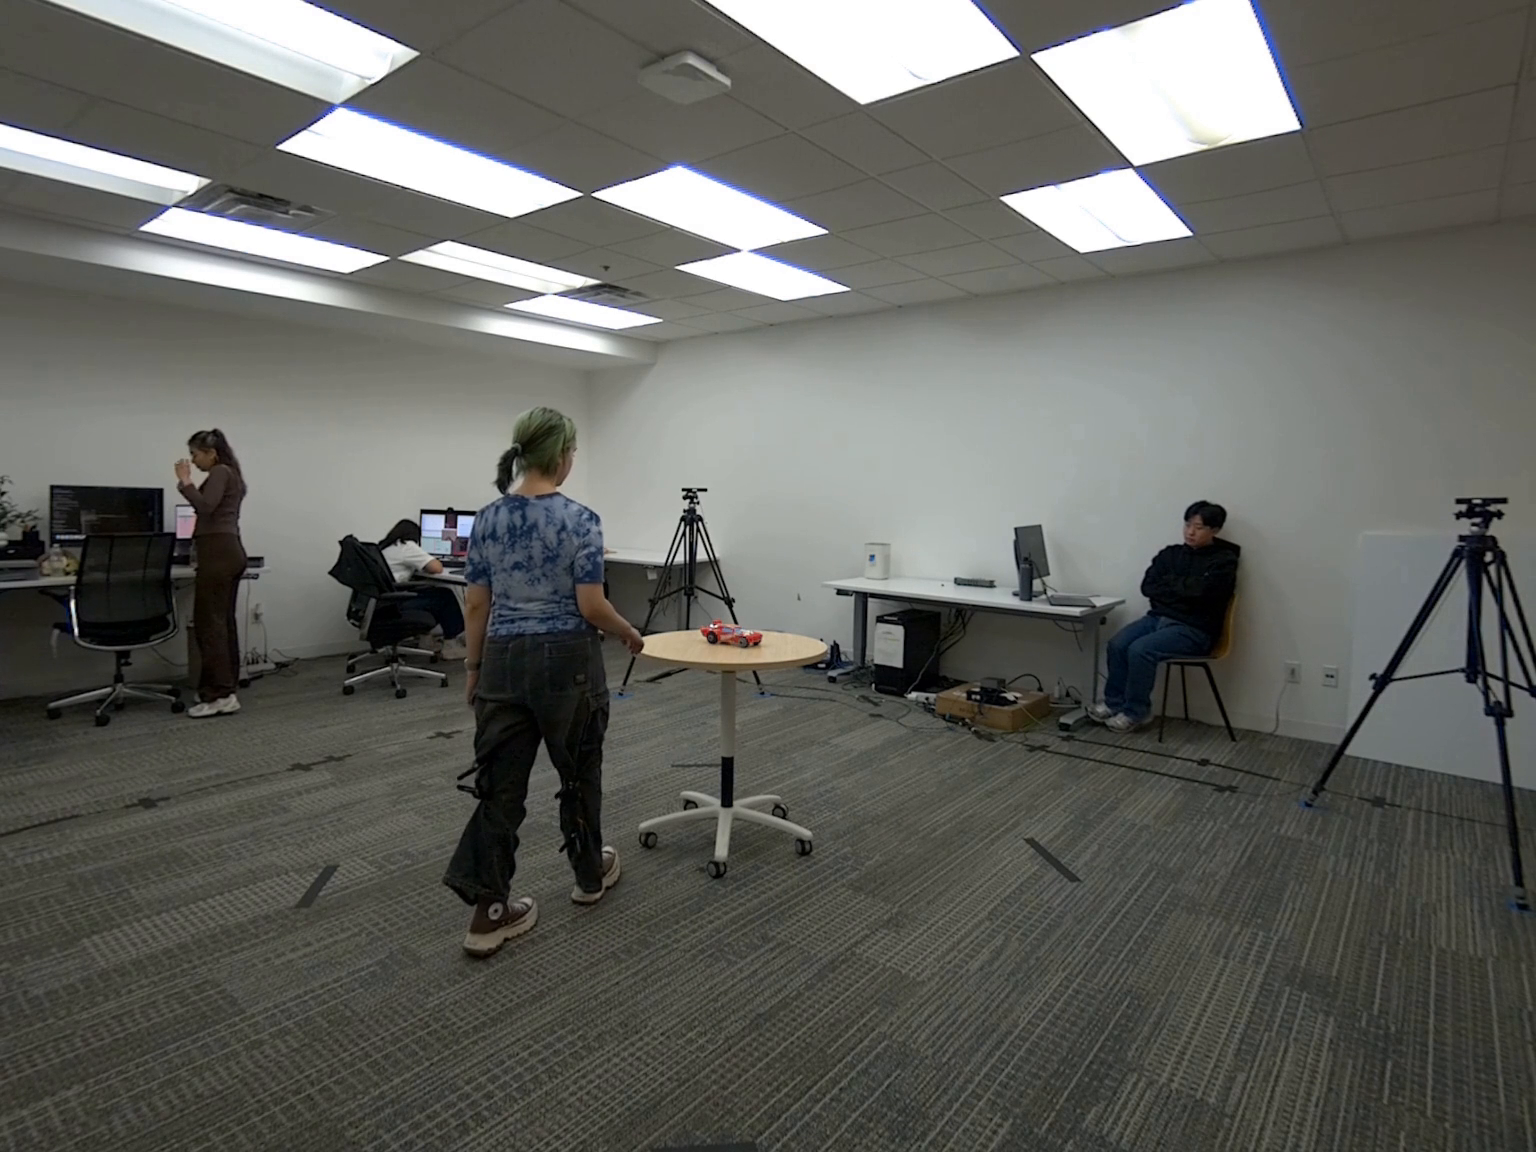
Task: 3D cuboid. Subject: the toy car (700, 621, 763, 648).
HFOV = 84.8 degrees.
[{"bbox_3d":[-0.160,0.231,3.362,0.263,0.082,0.127,16,12,31],"label":"toy car"}]
